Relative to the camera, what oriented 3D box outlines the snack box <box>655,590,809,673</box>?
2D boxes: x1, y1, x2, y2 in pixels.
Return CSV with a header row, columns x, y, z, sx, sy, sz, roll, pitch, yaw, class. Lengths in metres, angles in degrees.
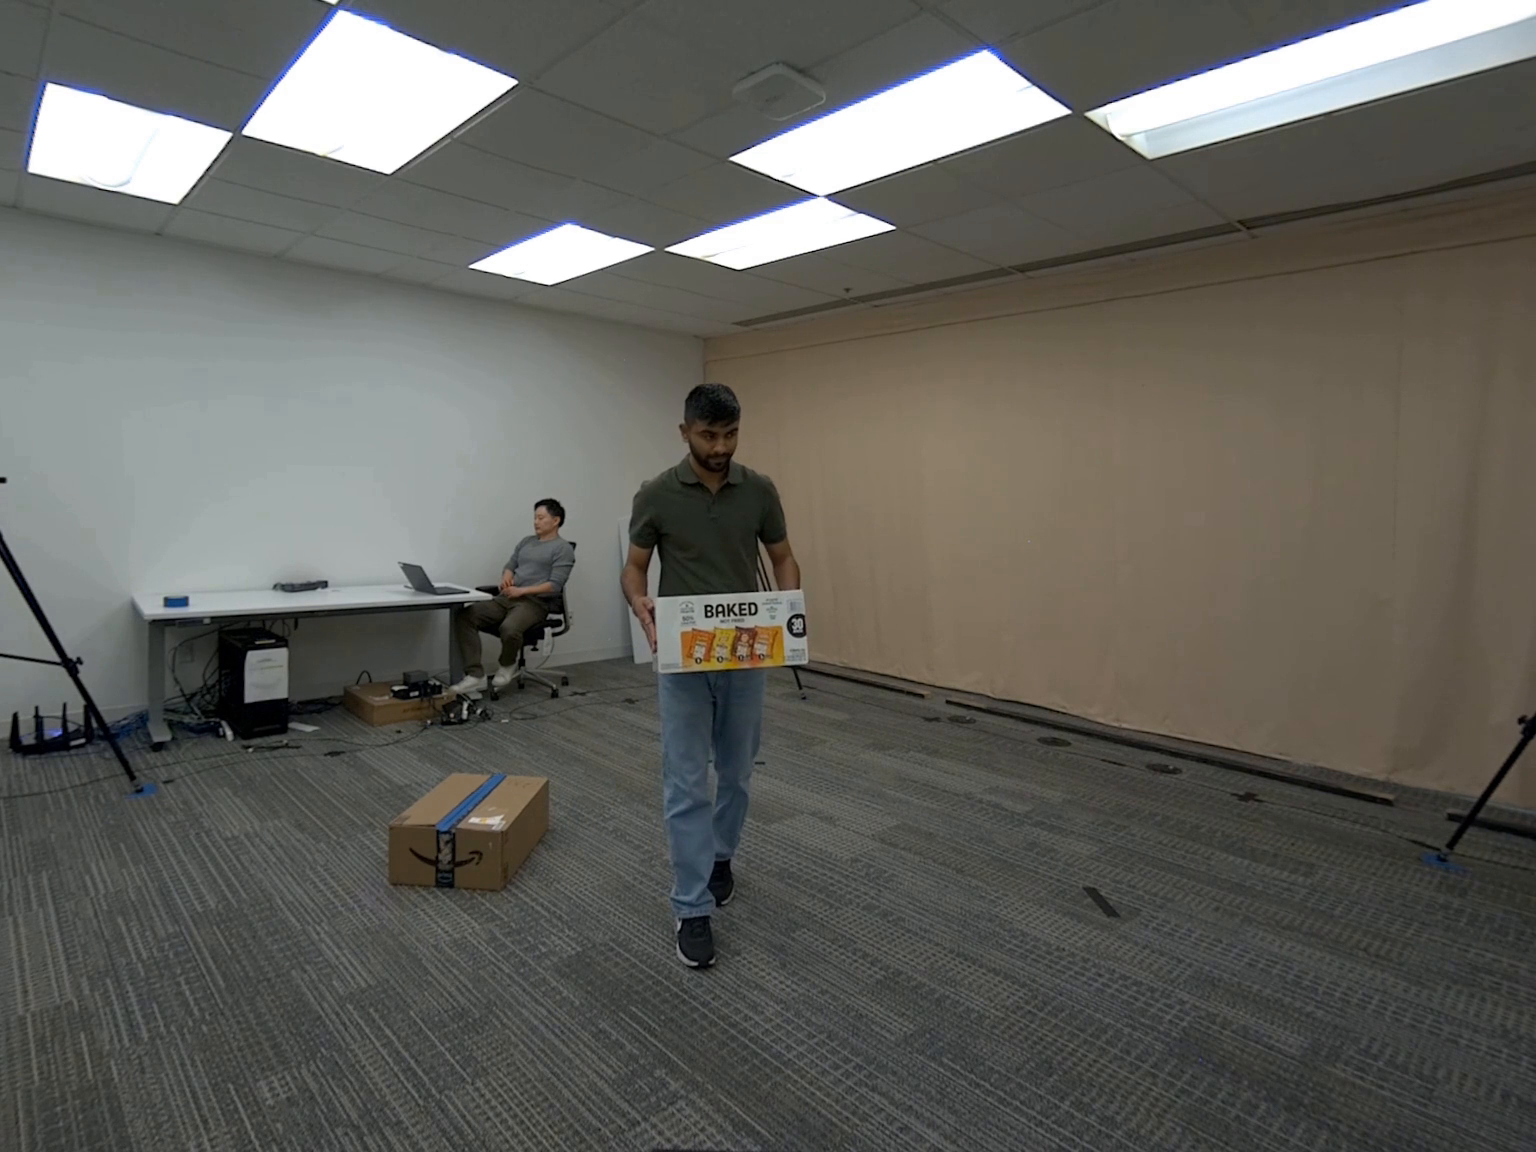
x,y,z,sx,sy,sz,roll,pitch,yaw,class
-0.135,0.160,2.406,0.403,0.207,0.341,-2,-5,-8,snack box
